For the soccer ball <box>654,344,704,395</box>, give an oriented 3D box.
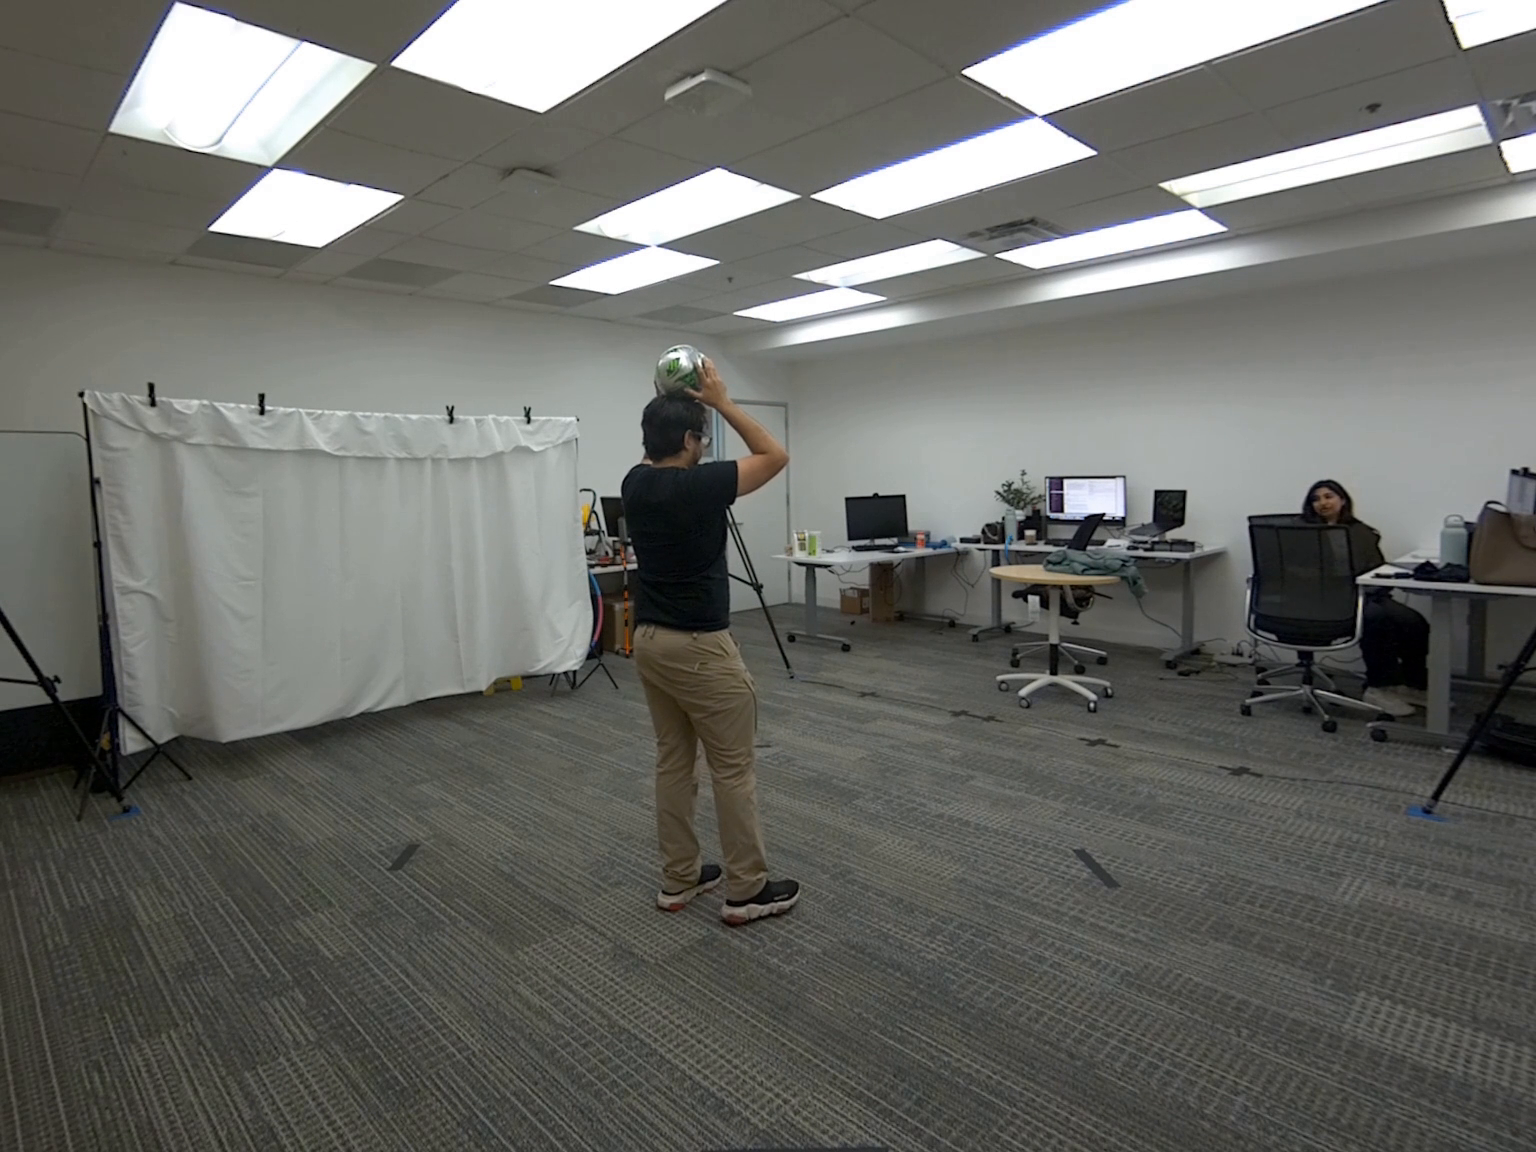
[{"bbox_3d":[-0.274,-0.661,2.813,0.187,0.187,0.188,-1,5,-2],"label":"soccer ball"}]
